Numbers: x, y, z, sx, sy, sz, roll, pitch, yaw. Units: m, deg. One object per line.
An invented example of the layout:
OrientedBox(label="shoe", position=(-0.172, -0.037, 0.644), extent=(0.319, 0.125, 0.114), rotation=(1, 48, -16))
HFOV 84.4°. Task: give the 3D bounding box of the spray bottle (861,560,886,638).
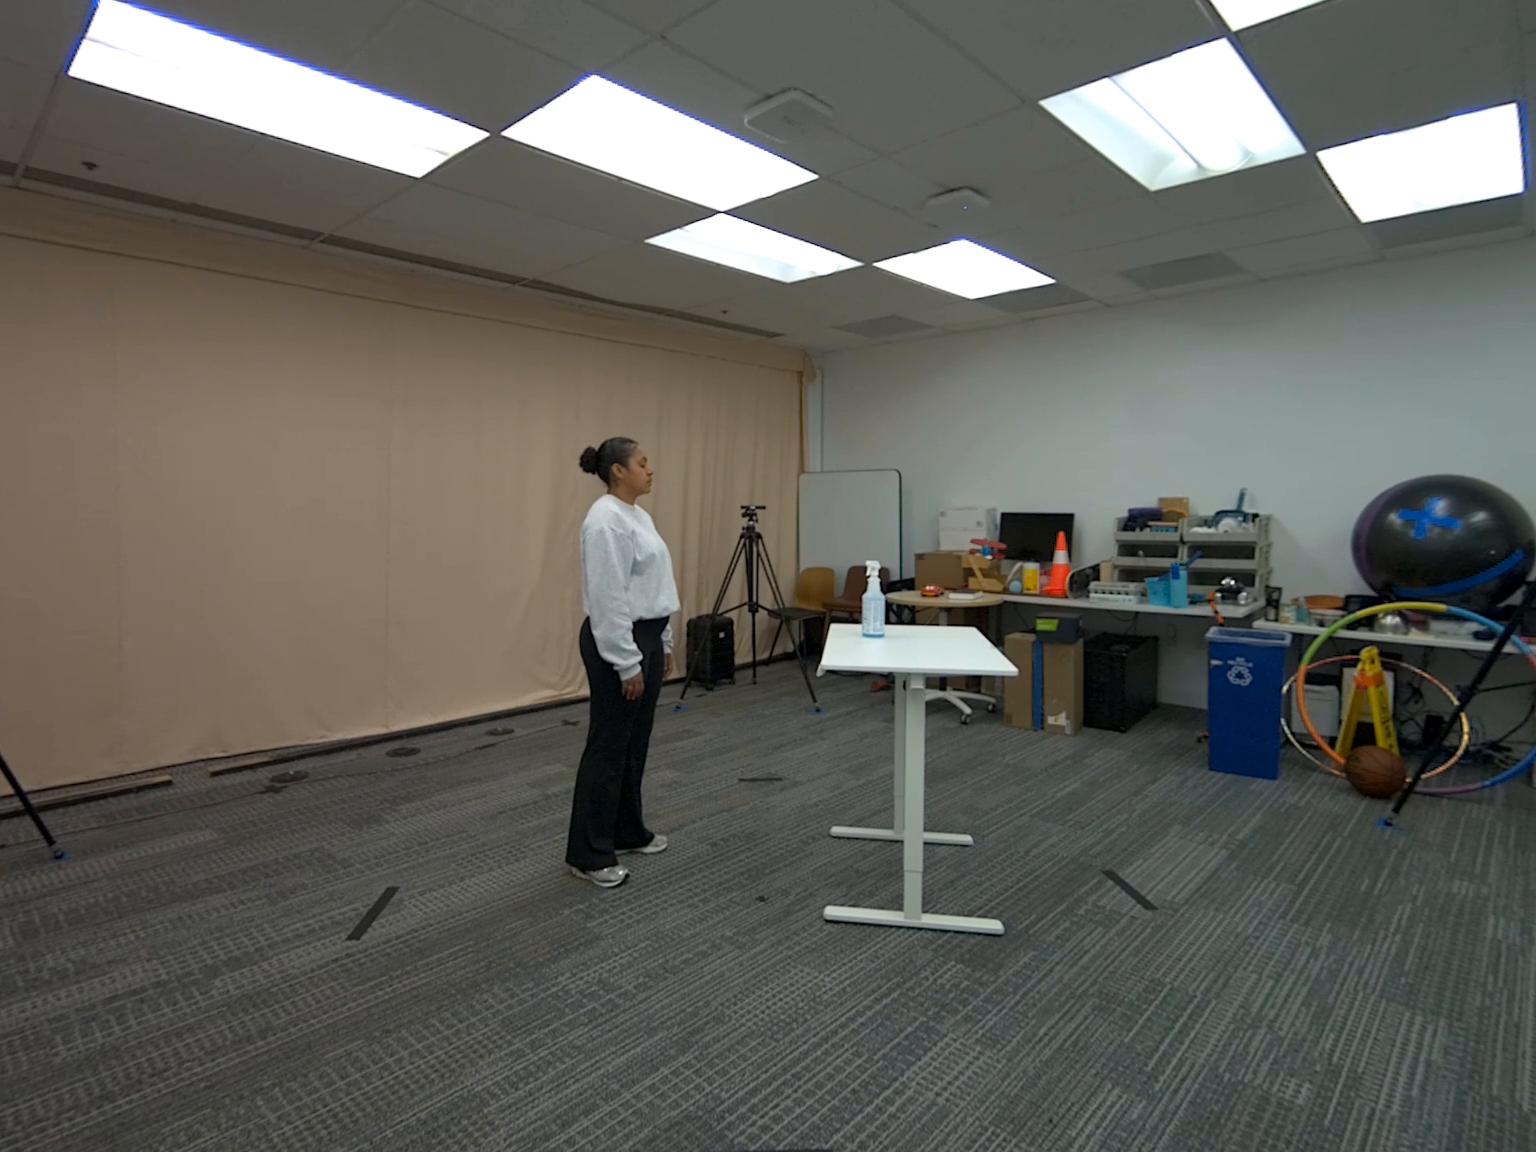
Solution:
OrientedBox(label="spray bottle", position=(0.416, 0.091, 3.272), extent=(0.088, 0.297, 0.089), rotation=(-2, 3, -23))
